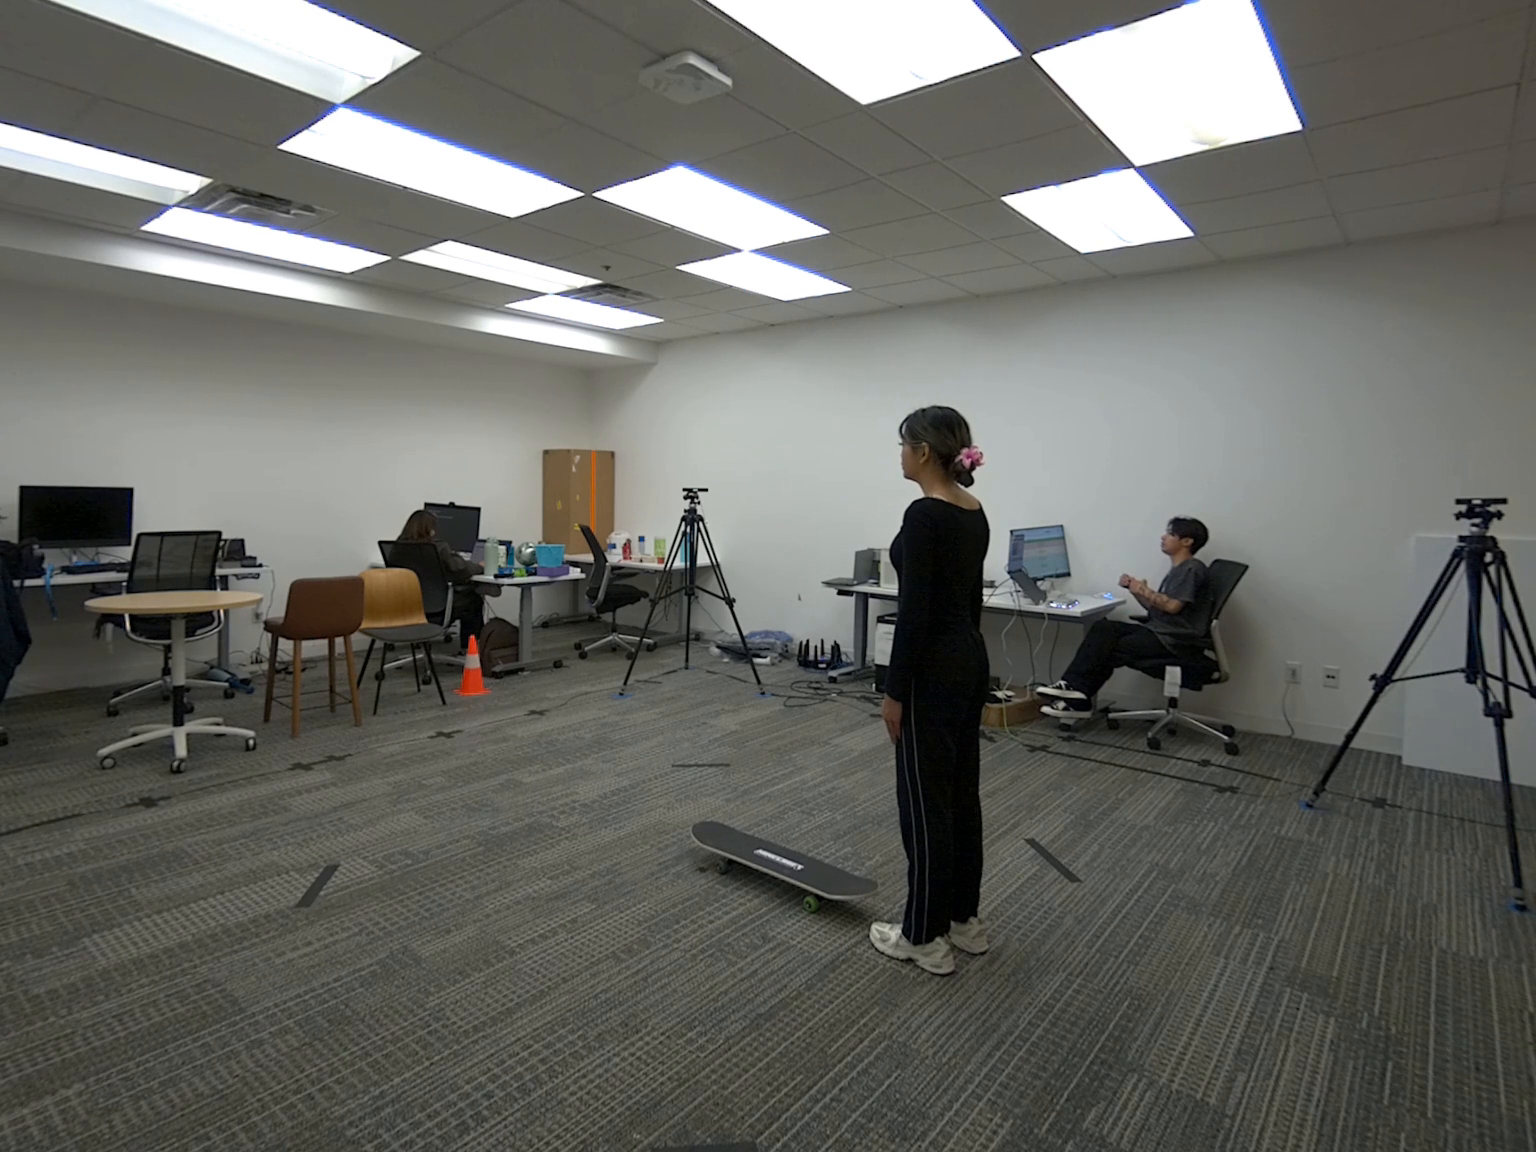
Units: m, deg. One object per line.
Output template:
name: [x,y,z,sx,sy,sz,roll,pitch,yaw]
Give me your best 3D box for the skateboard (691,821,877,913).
skateboard: [0.030,1.029,3.000,0.812,0.110,0.188,6,7,40]
